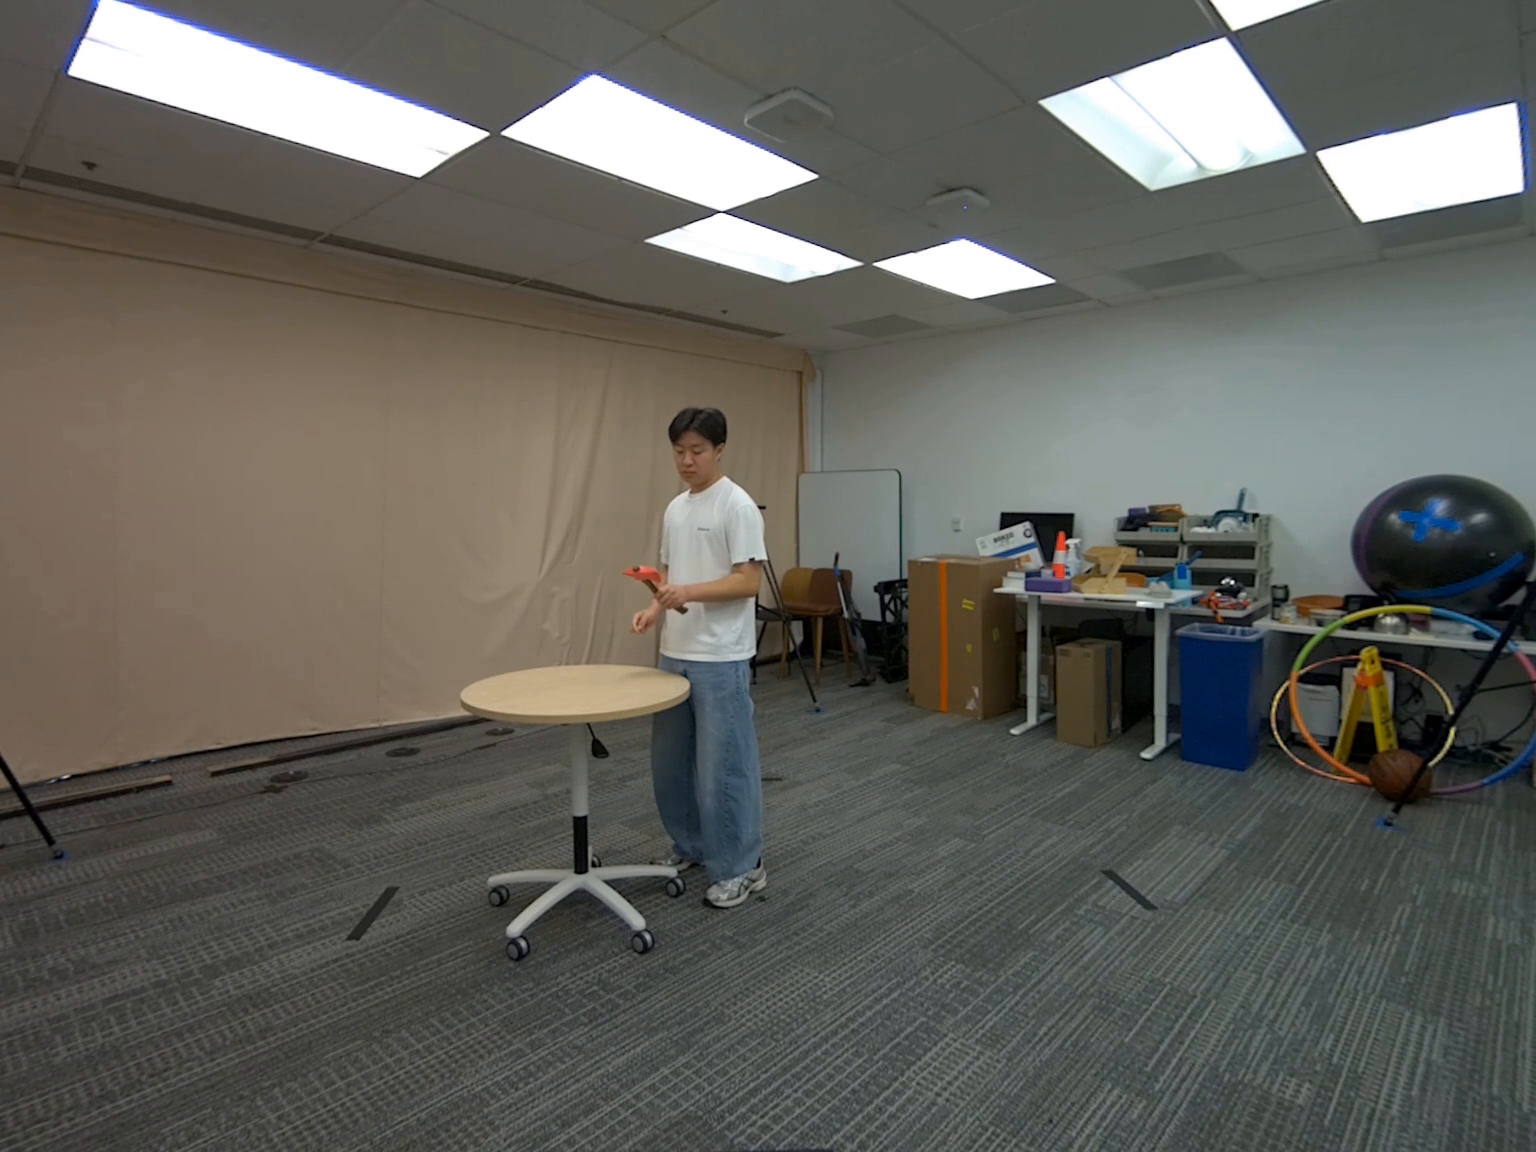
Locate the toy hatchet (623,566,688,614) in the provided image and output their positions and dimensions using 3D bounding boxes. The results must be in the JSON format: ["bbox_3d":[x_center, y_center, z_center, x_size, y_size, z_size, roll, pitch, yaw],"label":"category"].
[{"bbox_3d":[-0.343,0.046,2.744,0.262,0.030,0.134,36,-35,-29],"label":"toy hatchet"}]
